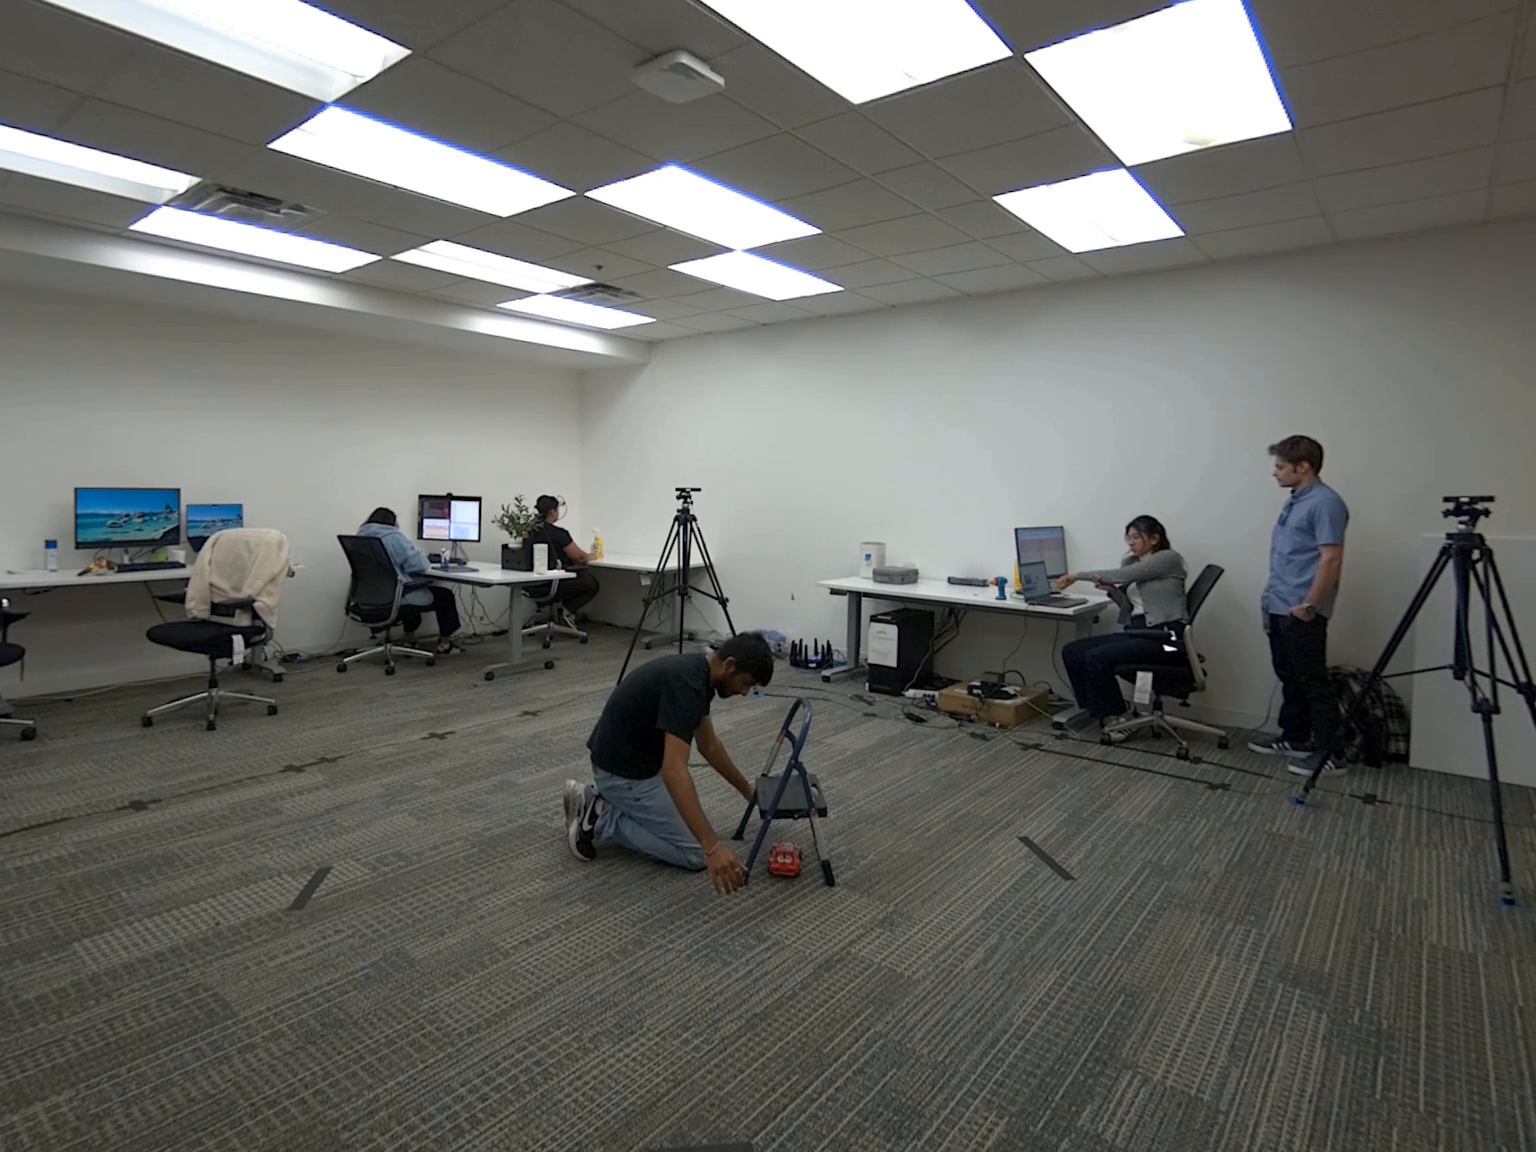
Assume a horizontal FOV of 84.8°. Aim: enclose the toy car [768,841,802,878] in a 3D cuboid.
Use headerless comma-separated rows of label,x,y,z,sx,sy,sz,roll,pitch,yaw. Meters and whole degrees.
toy car,0.052,1.042,3.149,0.131,0.083,0.251,2,-3,6
